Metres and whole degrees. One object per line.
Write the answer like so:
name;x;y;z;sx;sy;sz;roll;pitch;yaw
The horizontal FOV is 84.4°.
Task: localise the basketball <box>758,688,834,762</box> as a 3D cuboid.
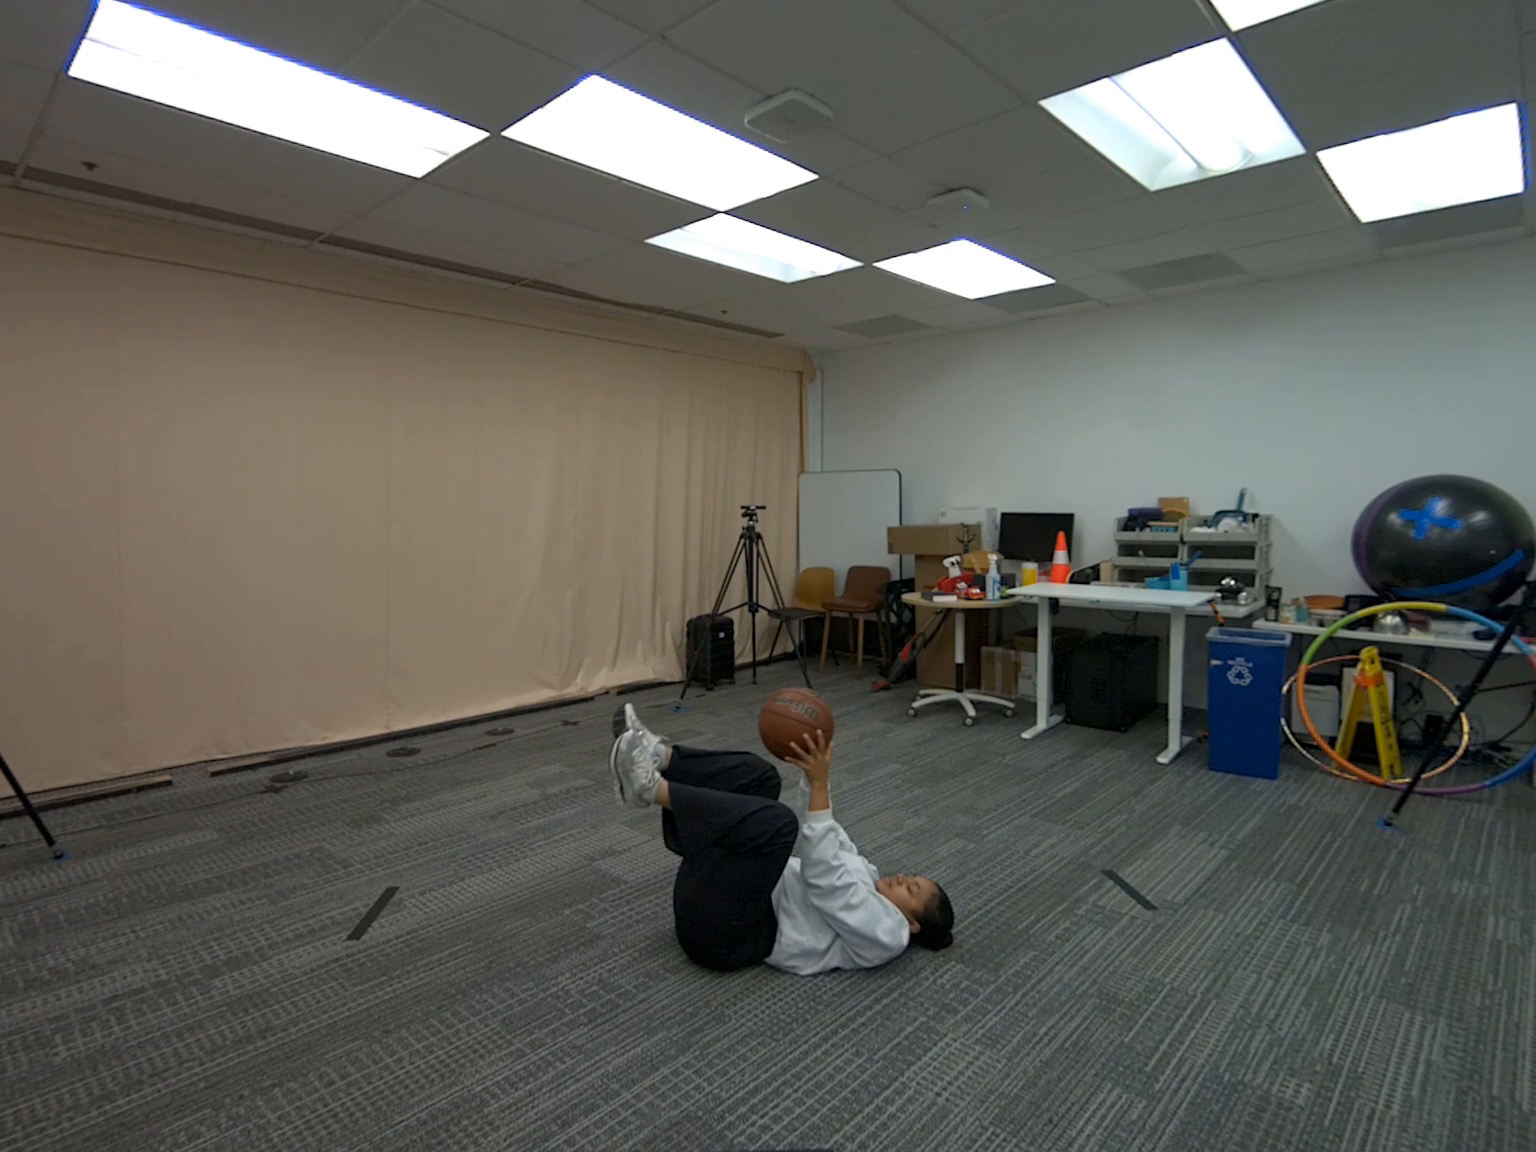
basketball;0.117;0.478;2.653;0.236;0.235;0.237;0;4;-2
